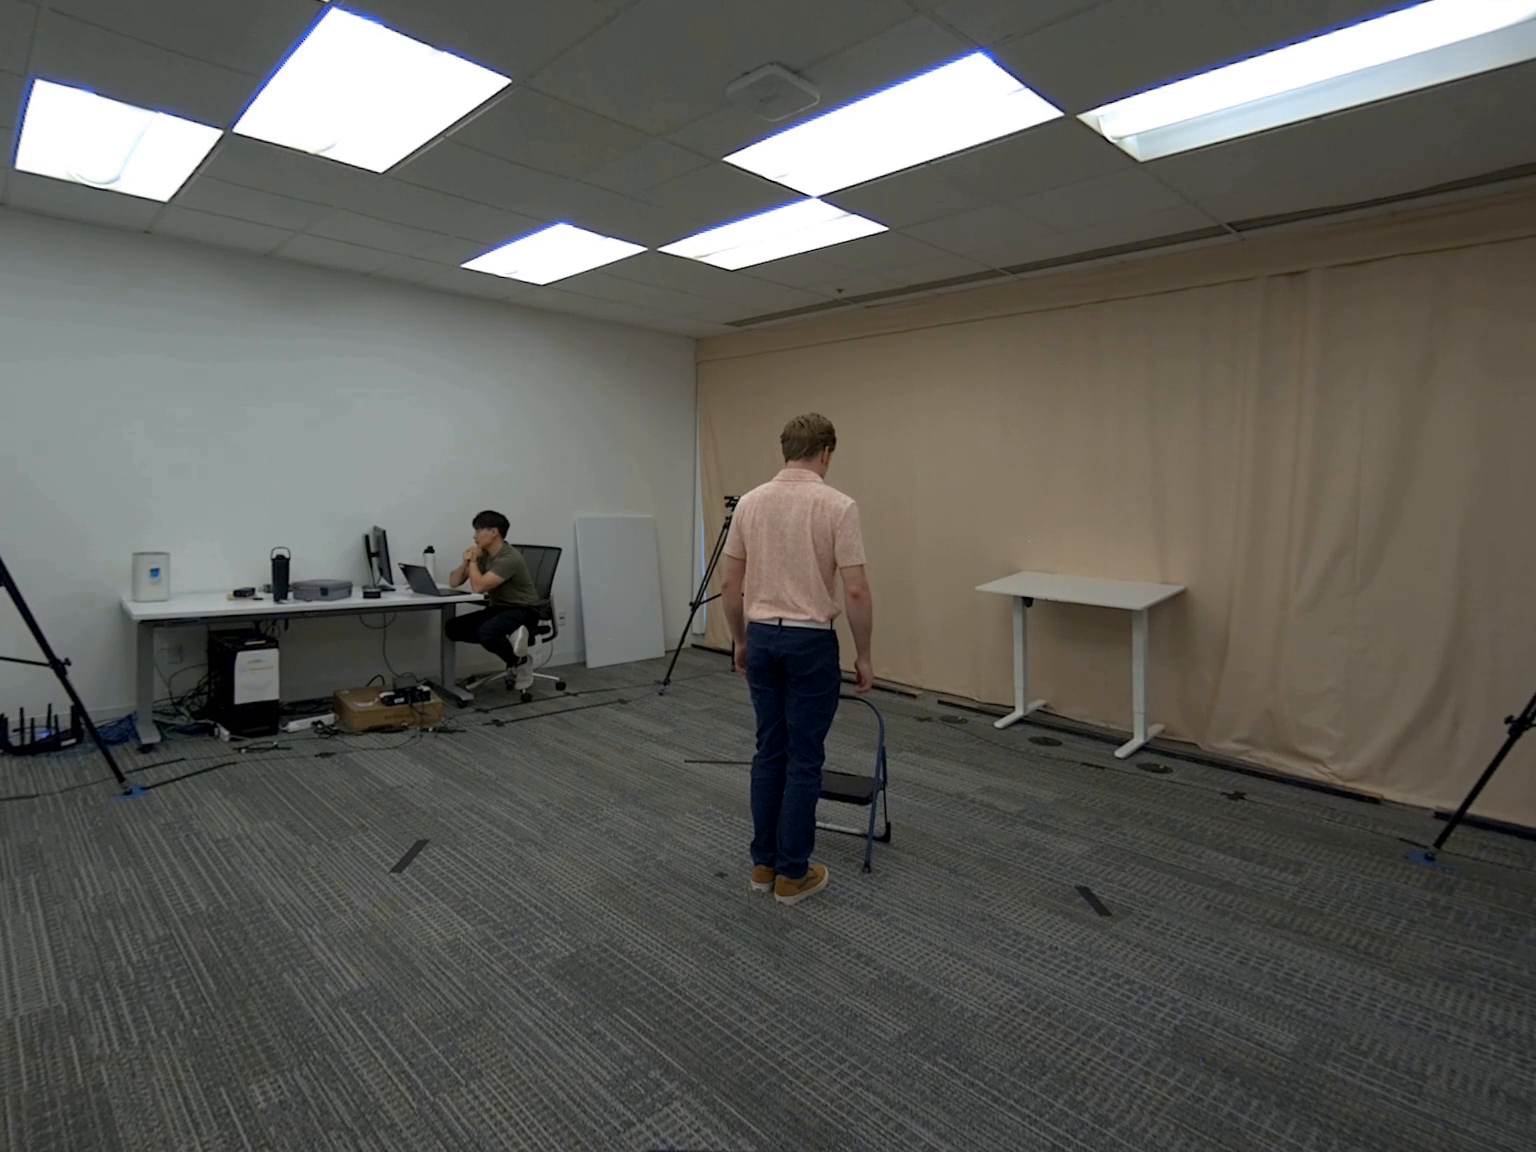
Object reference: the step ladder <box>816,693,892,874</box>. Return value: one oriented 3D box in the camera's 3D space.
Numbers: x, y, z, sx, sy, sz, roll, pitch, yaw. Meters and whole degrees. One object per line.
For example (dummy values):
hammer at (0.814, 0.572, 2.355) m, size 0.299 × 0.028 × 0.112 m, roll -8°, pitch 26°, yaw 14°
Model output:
step ladder at (0.256, 0.788, 3.381) m, size 0.439 × 0.605 × 0.343 m, roll 4°, pitch 4°, yaw 24°
